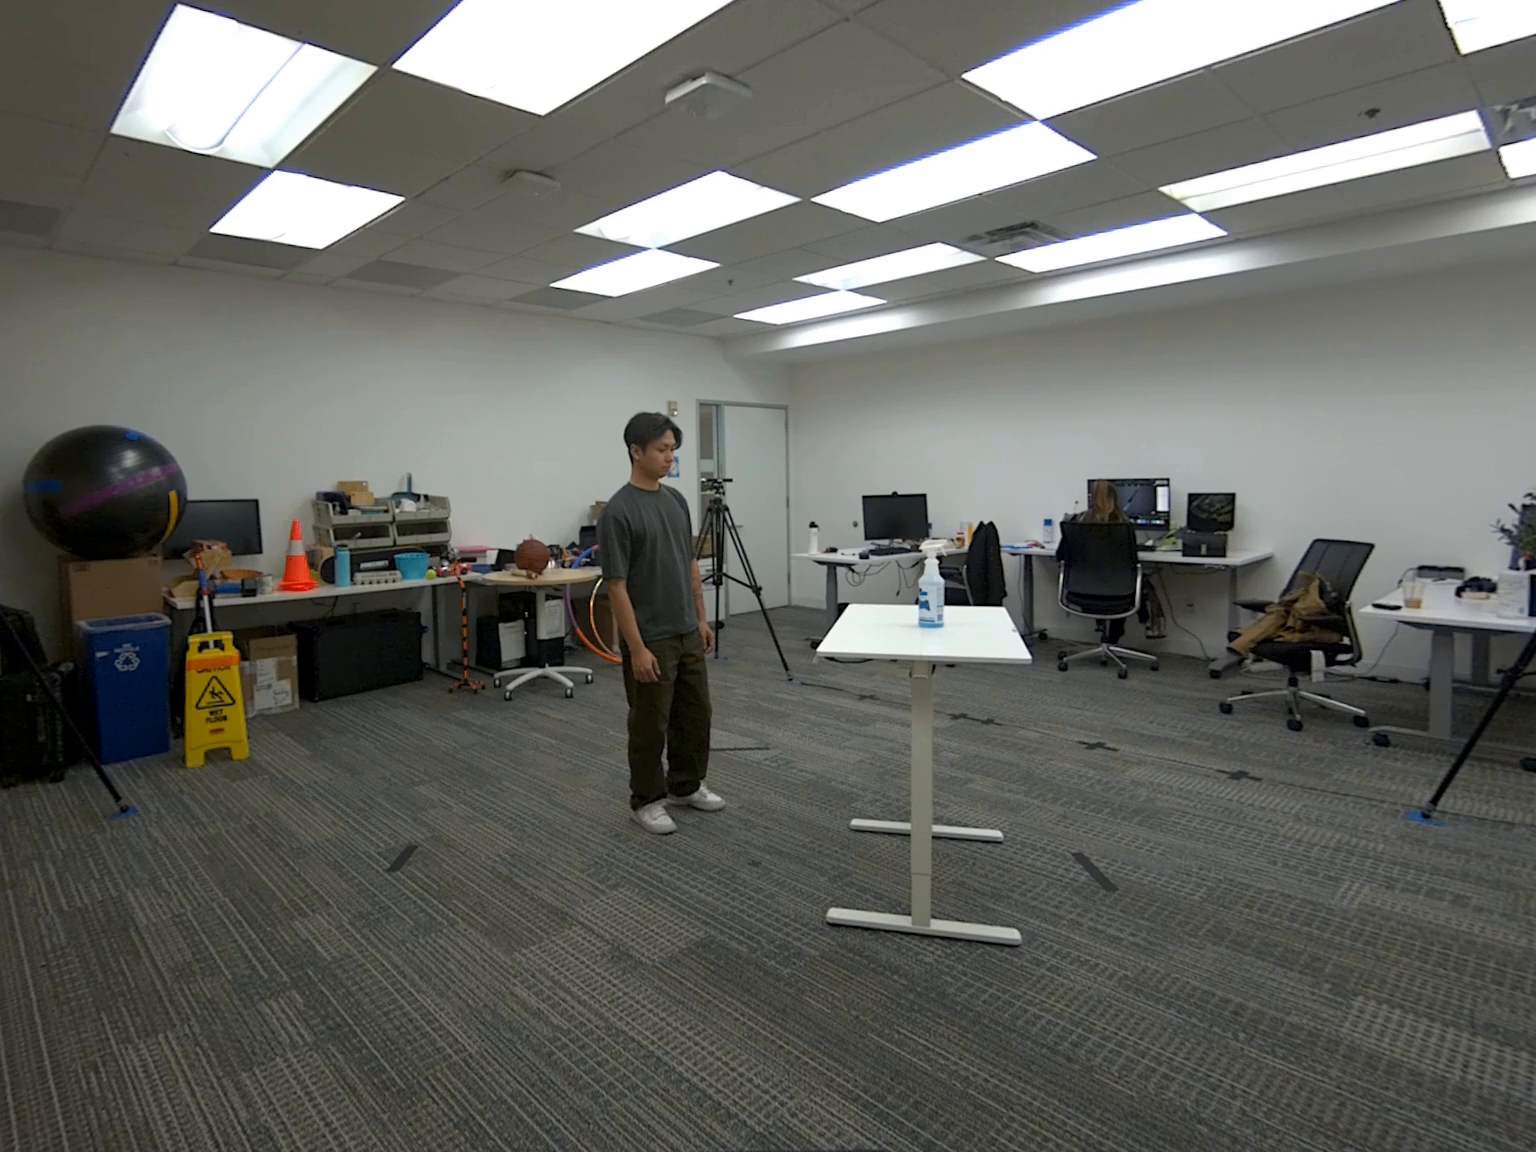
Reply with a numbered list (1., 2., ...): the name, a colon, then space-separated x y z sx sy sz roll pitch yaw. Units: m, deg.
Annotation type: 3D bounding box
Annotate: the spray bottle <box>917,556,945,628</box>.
1. spray bottle: 0.559 0.025 2.924 0.092 0.296 0.085 0 4 27
